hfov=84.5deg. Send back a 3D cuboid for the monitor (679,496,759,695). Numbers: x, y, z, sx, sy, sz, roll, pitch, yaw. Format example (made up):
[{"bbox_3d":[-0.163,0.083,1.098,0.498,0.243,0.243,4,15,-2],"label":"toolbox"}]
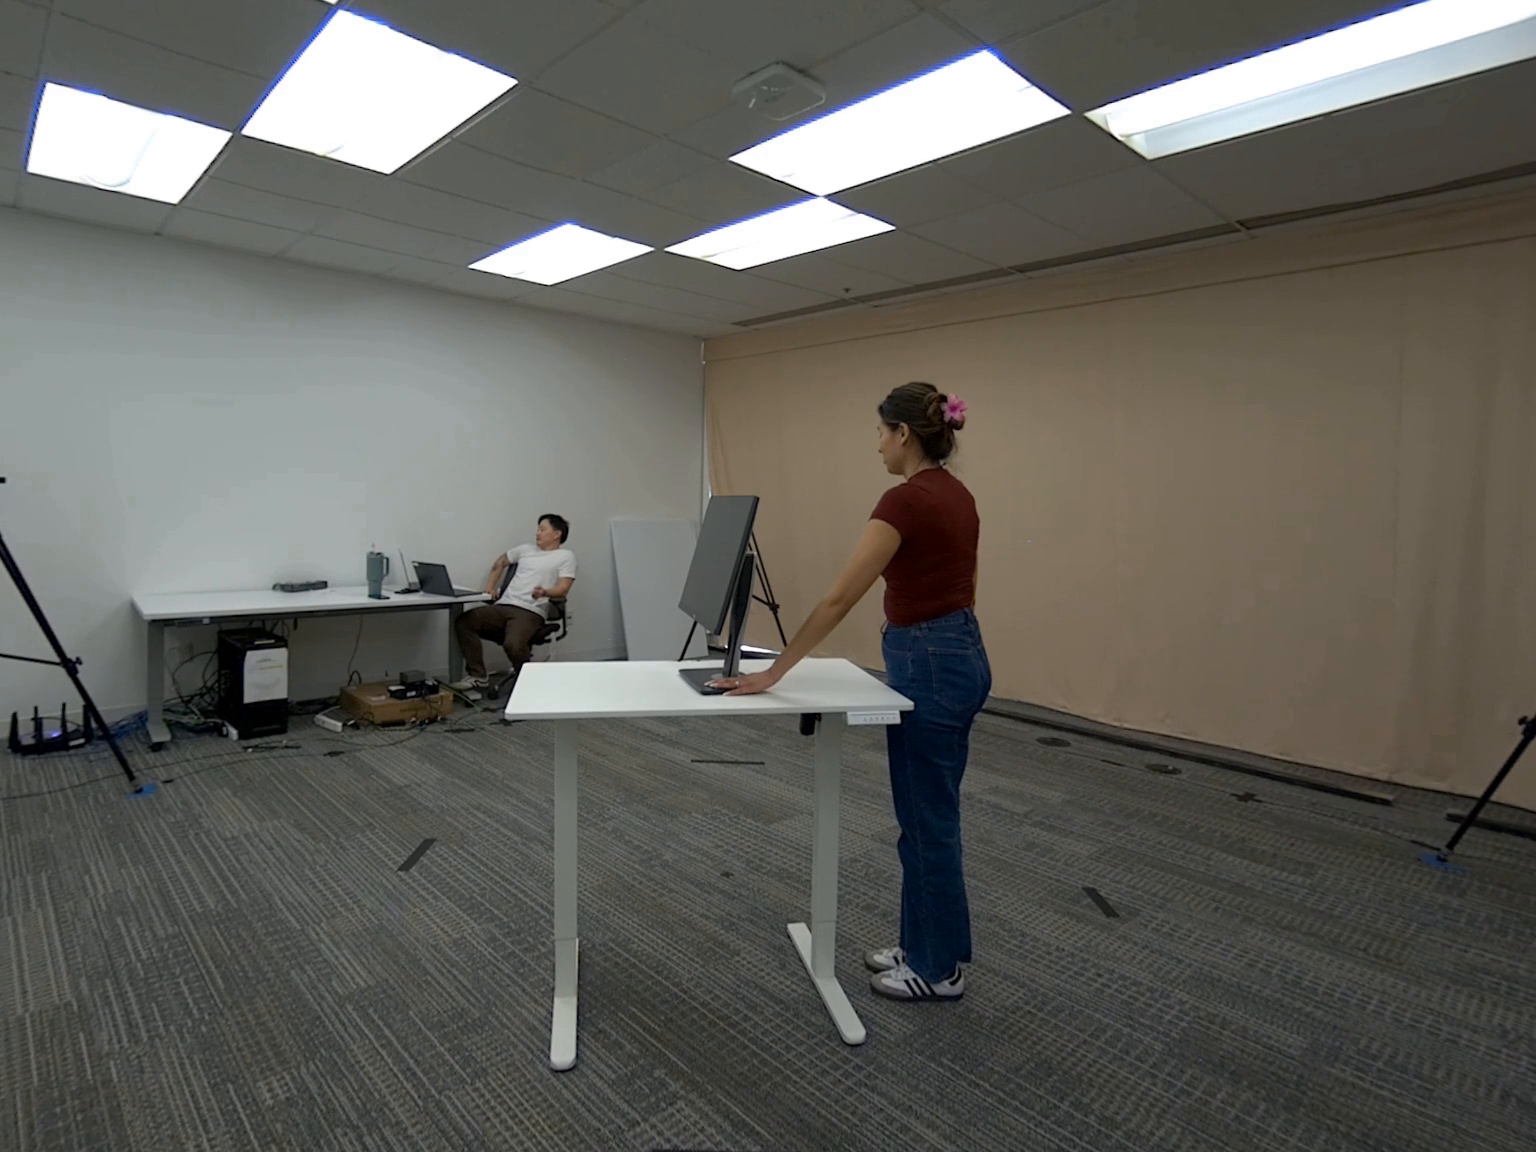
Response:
[{"bbox_3d":[-0.119,0.041,2.297,0.184,0.522,0.547,2,3,-17],"label":"monitor"}]
